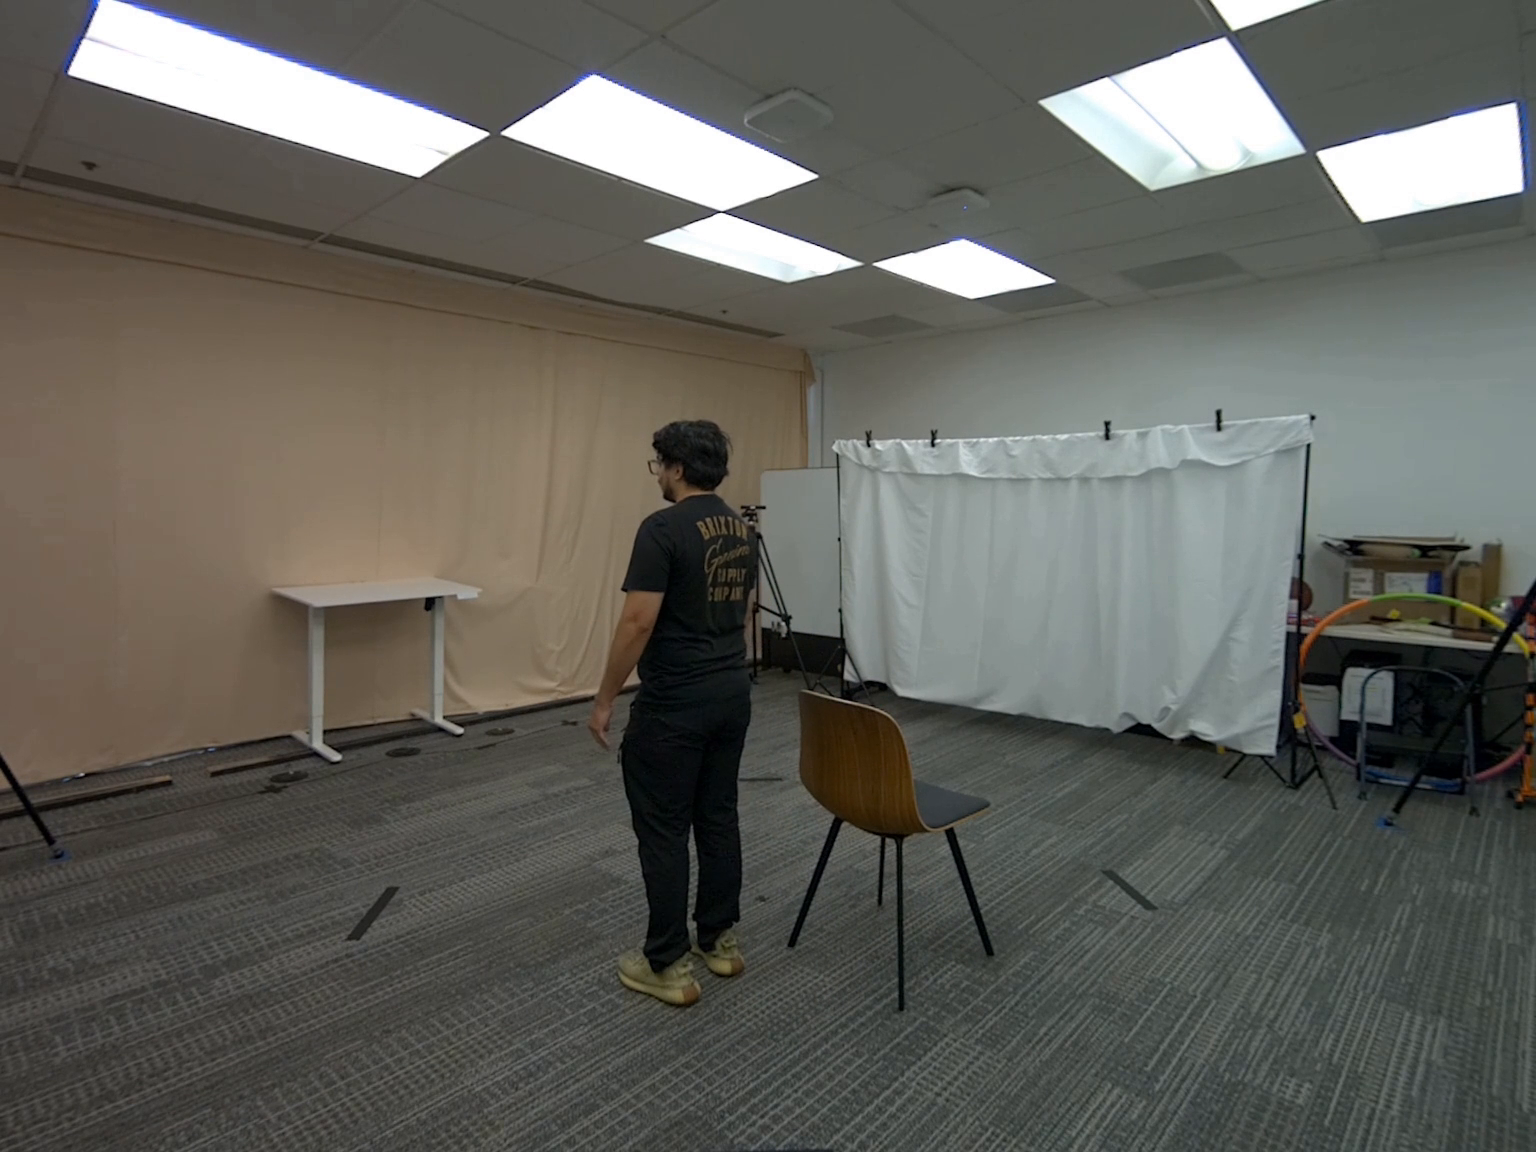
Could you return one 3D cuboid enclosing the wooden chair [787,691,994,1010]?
[{"bbox_3d":[0.391,0.748,2.604,0.508,0.874,0.494,-9,8,-42],"label":"wooden chair"}]
